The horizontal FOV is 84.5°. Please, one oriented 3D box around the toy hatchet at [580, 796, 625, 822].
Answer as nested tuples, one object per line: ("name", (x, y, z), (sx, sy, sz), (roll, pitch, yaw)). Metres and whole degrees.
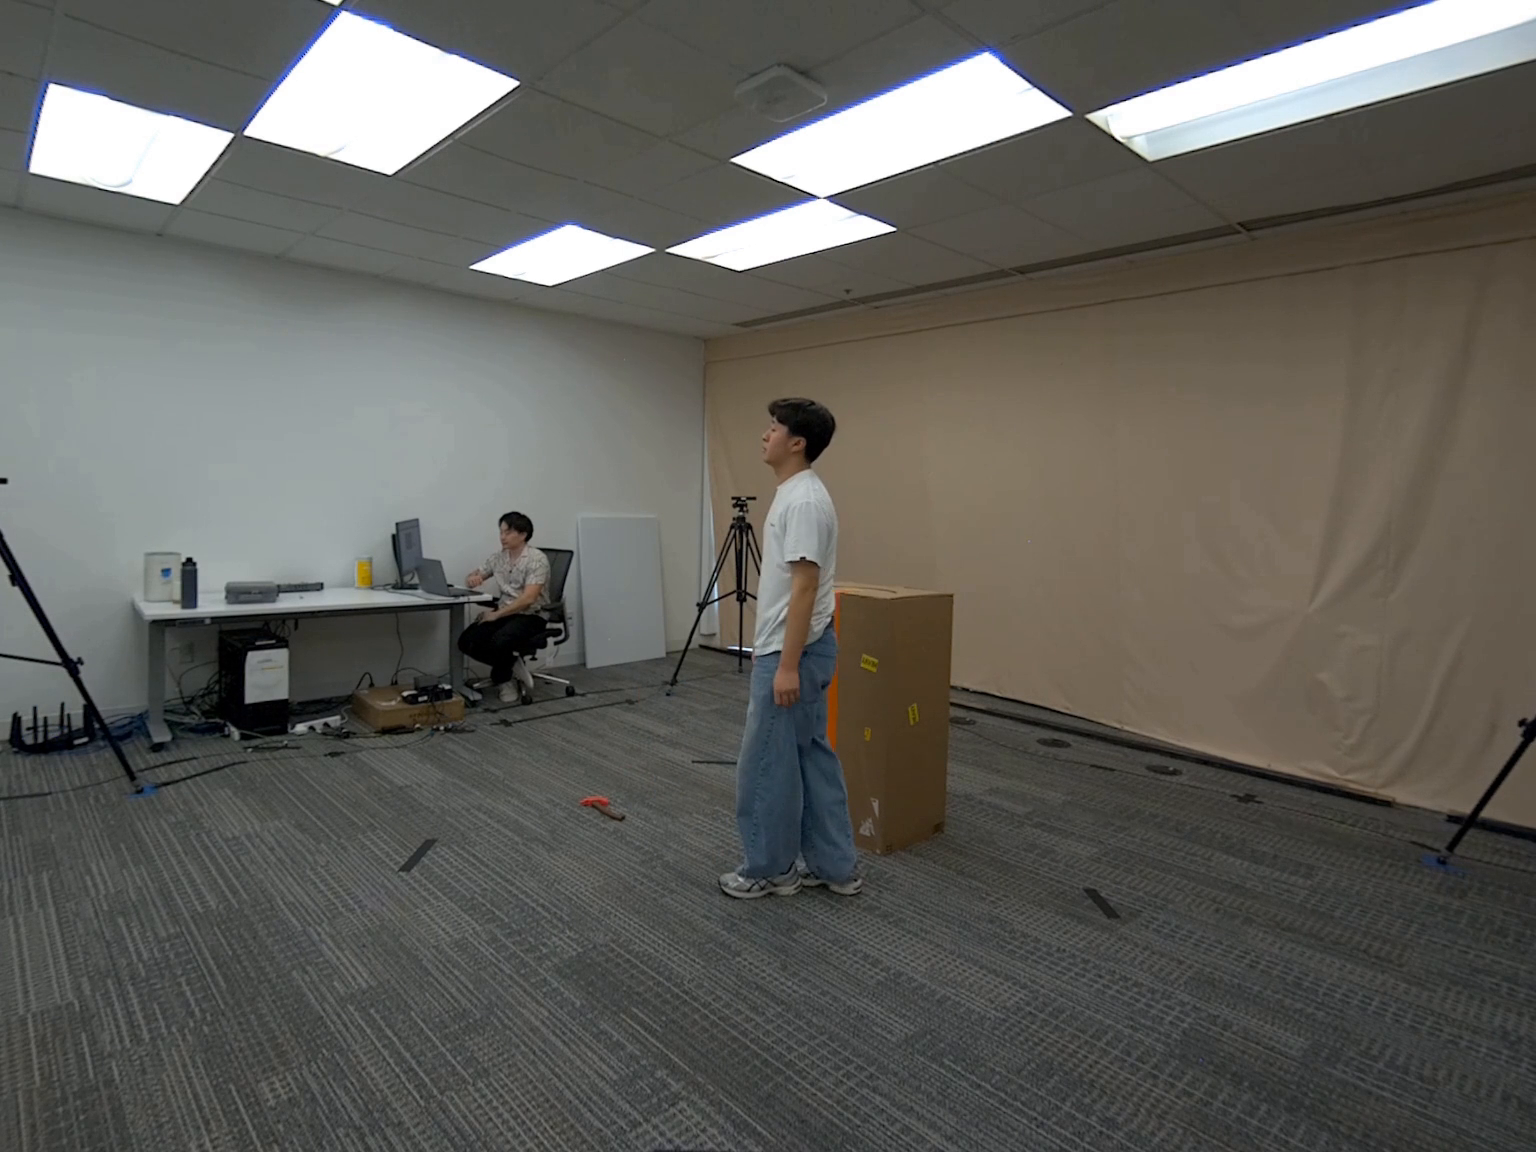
("toy hatchet", (-0.708, 1.016, 3.725), (0.277, 0.029, 0.128), (9, 7, 38))
